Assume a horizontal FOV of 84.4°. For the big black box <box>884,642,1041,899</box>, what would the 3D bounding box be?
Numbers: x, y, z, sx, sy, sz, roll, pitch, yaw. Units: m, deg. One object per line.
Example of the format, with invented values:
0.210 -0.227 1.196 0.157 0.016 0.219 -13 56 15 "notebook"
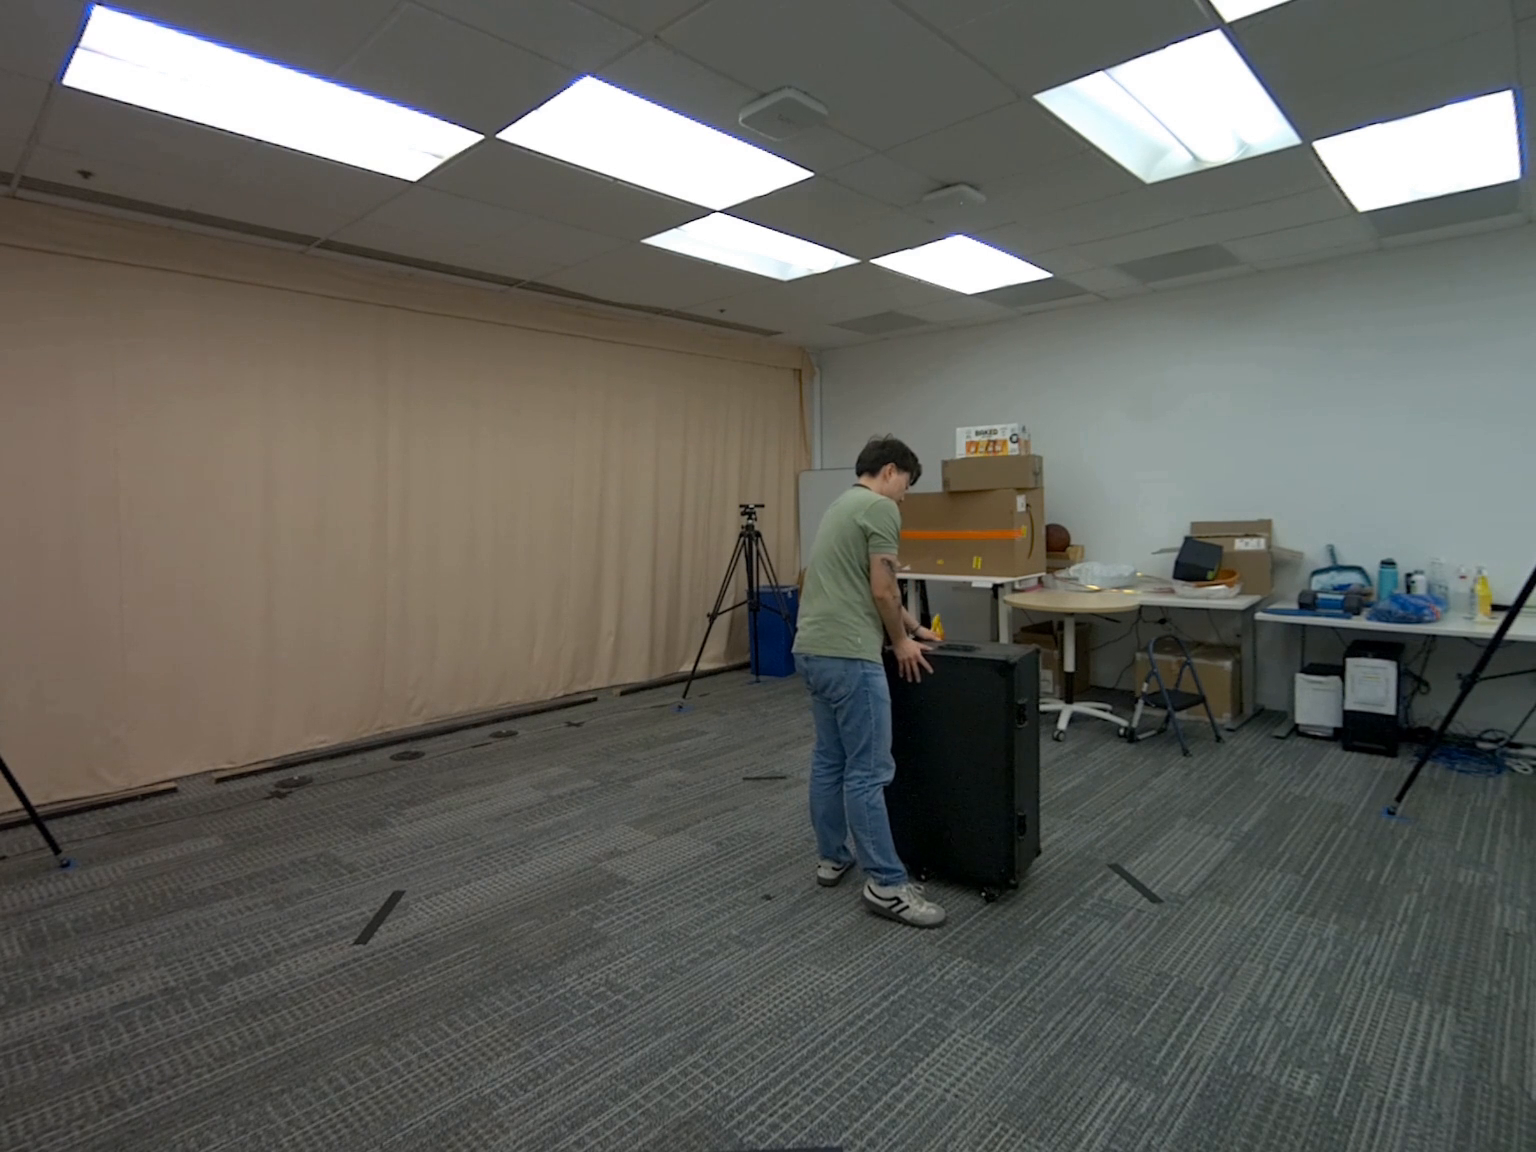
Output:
0.732 0.693 3.136 0.537 0.860 0.385 1 3 32 "big black box"
